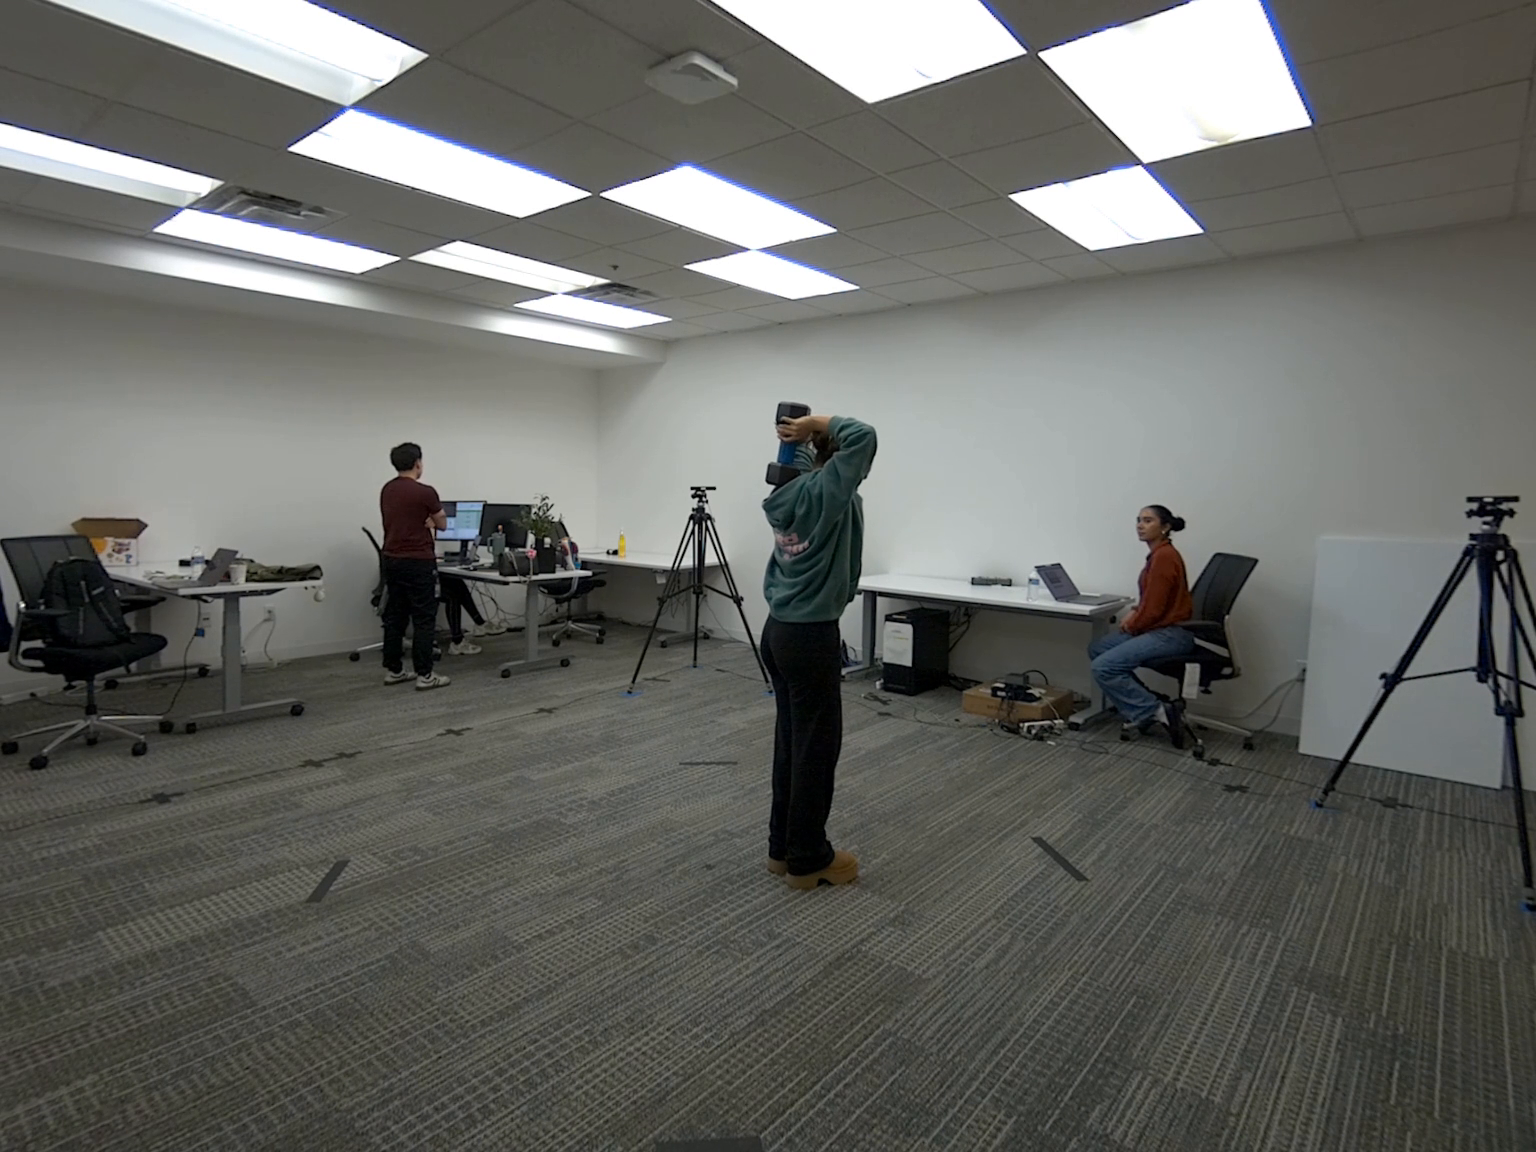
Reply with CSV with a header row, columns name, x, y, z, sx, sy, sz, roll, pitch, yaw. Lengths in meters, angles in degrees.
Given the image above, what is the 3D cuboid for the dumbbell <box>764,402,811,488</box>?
name,x,y,z,sx,sy,sz,roll,pitch,yaw
dumbbell,0.065,-0.458,2.970,0.120,0.293,0.112,13,2,-24
